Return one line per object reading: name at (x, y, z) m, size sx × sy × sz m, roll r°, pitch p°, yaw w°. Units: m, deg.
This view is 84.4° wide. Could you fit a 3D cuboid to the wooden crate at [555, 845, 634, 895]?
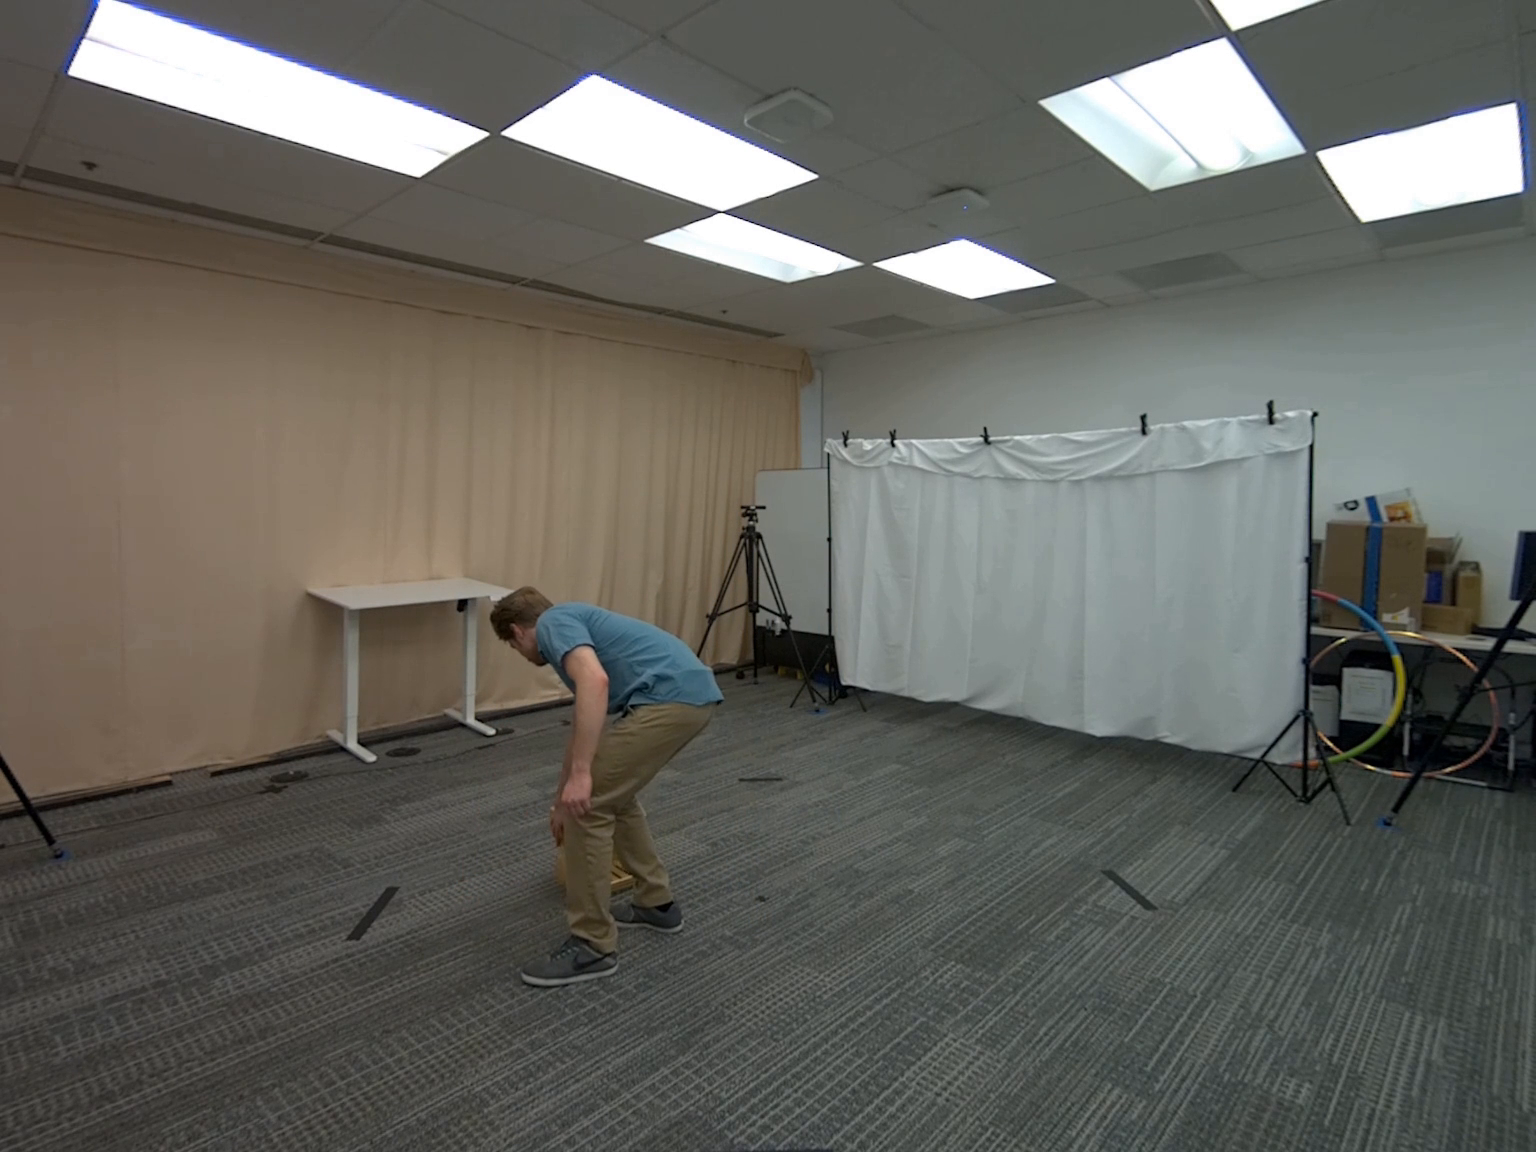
wooden crate at (-0.616, 1.000, 3.150) m, size 0.315 × 0.273 × 0.312 m, roll -4°, pitch 4°, yaw -40°
